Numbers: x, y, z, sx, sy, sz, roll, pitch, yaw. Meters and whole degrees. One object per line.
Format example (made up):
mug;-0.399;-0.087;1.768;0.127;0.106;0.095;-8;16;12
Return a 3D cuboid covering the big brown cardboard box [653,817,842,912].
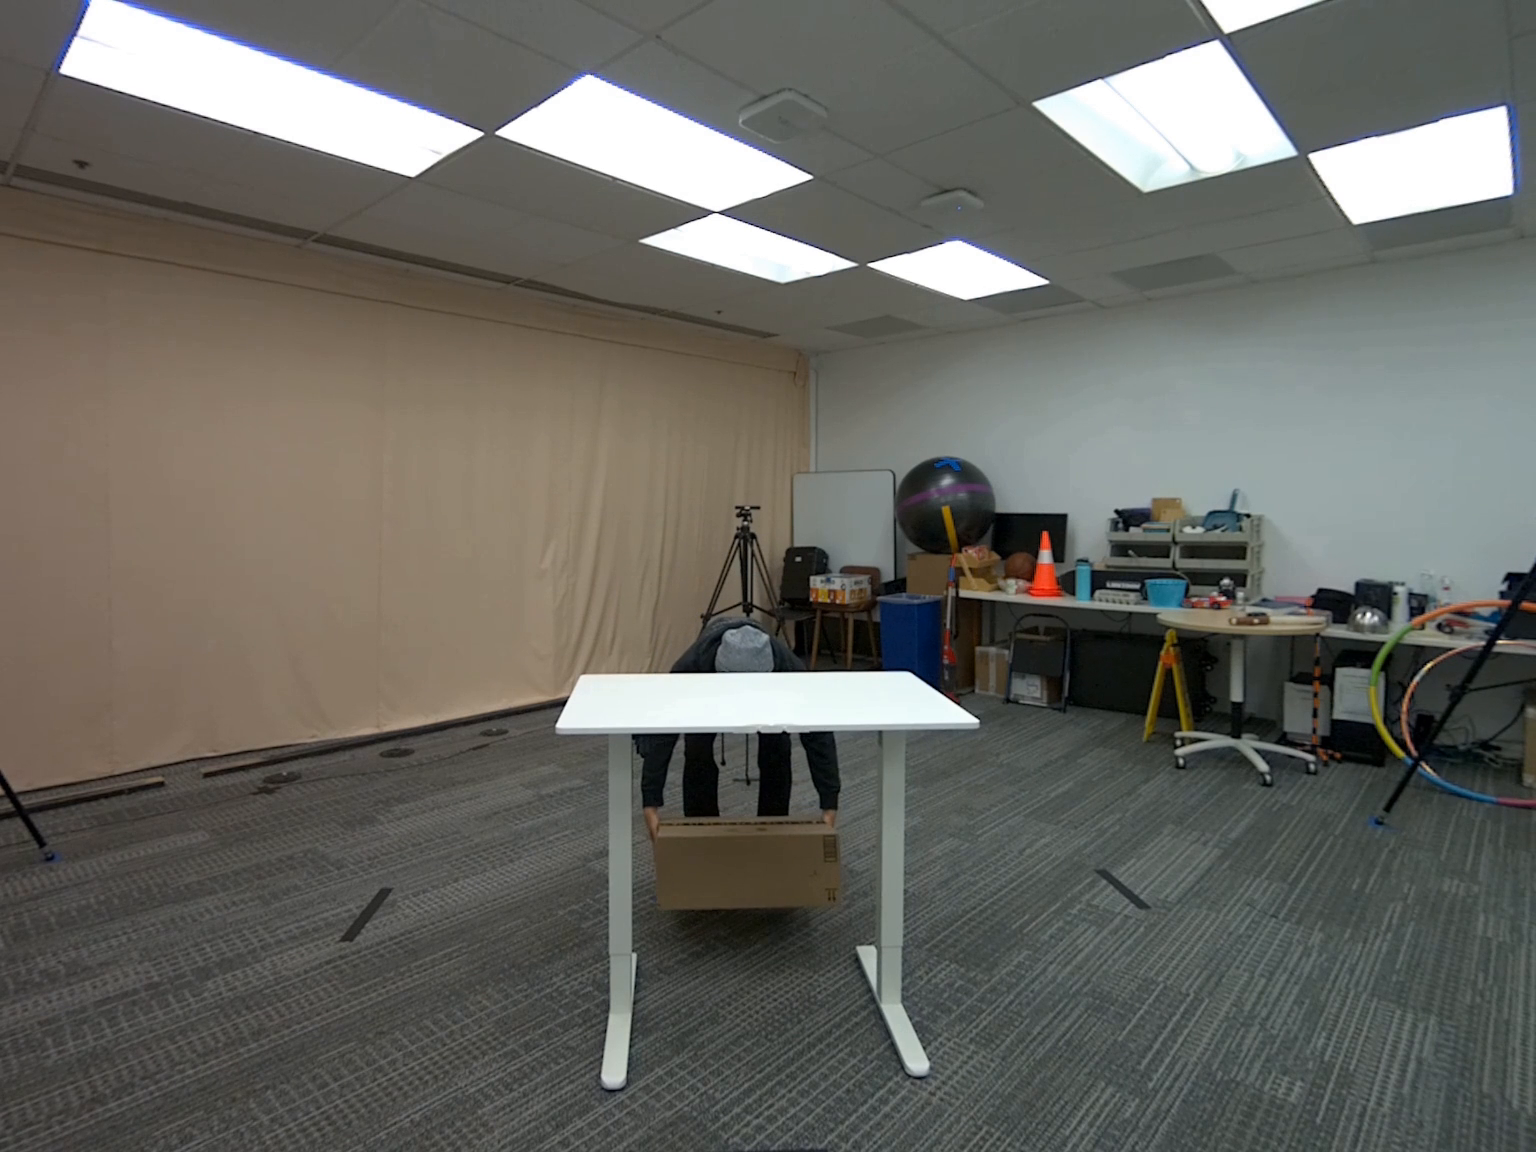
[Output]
big brown cardboard box;-0.080;0.925;2.768;0.587;0.234;0.416;-1;-8;-3
